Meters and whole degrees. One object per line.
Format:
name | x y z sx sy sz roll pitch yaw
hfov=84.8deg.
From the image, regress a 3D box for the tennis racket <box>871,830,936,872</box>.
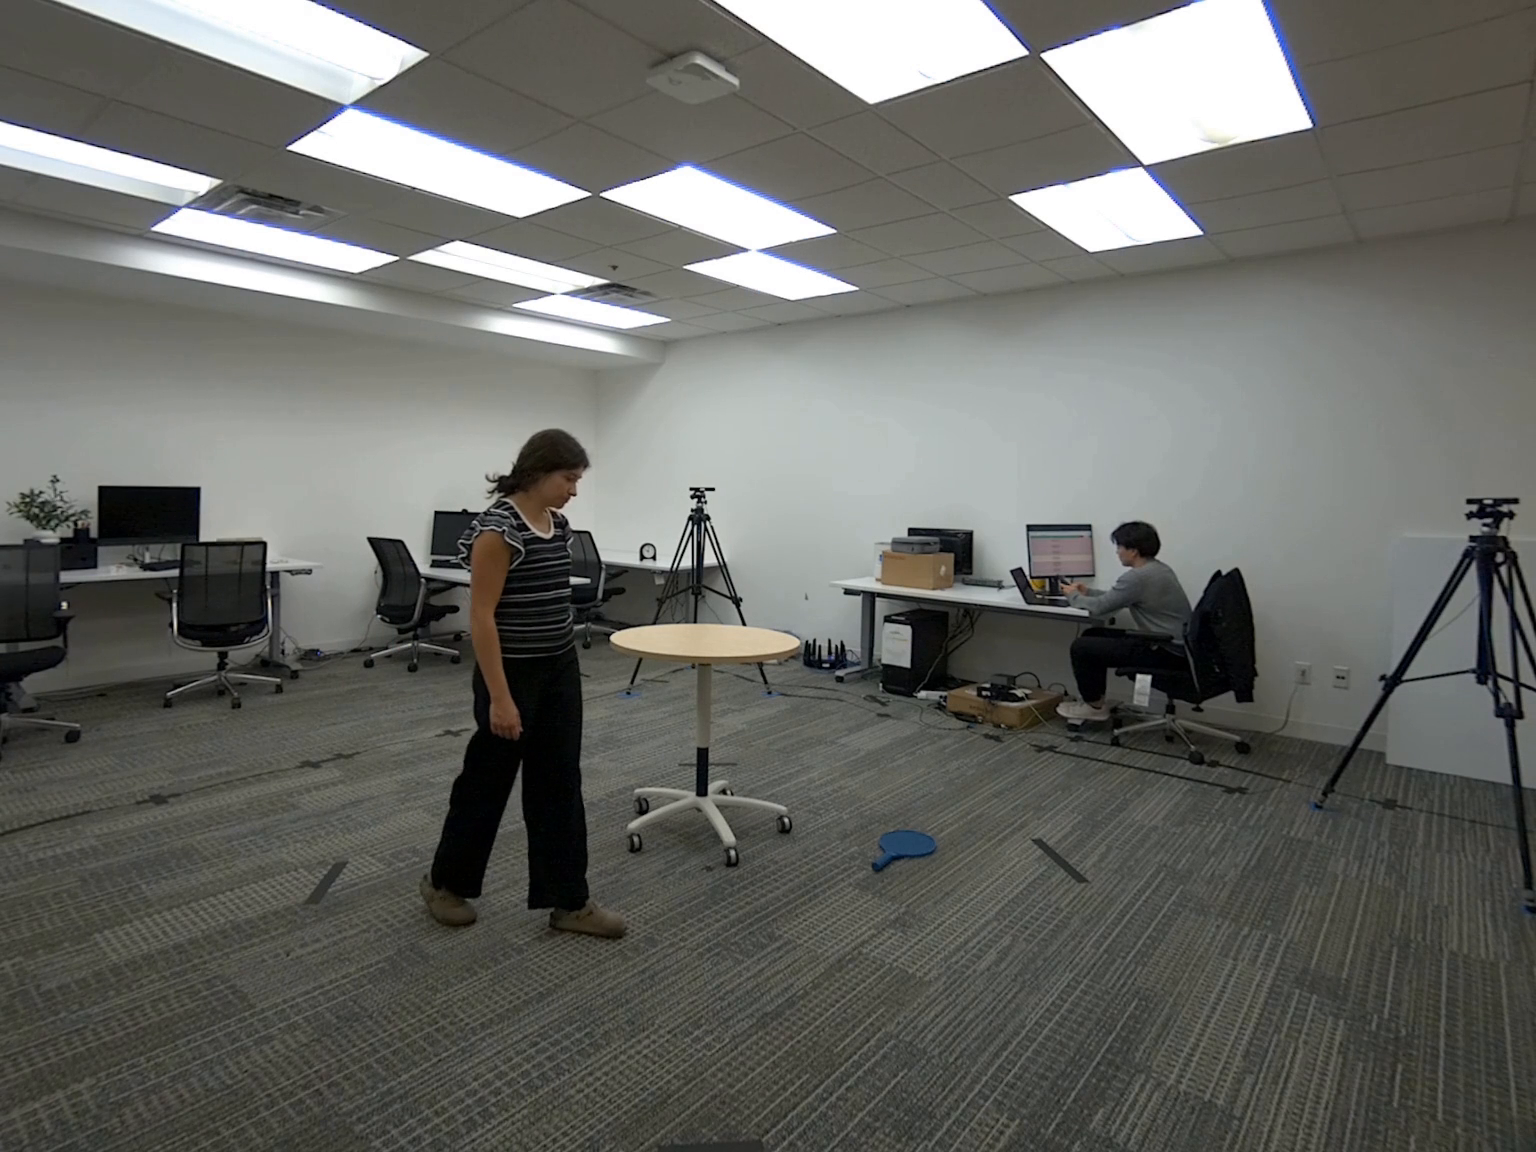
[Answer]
tennis racket | 0.500 1.052 3.290 0.220 0.031 0.421 5 6 32
